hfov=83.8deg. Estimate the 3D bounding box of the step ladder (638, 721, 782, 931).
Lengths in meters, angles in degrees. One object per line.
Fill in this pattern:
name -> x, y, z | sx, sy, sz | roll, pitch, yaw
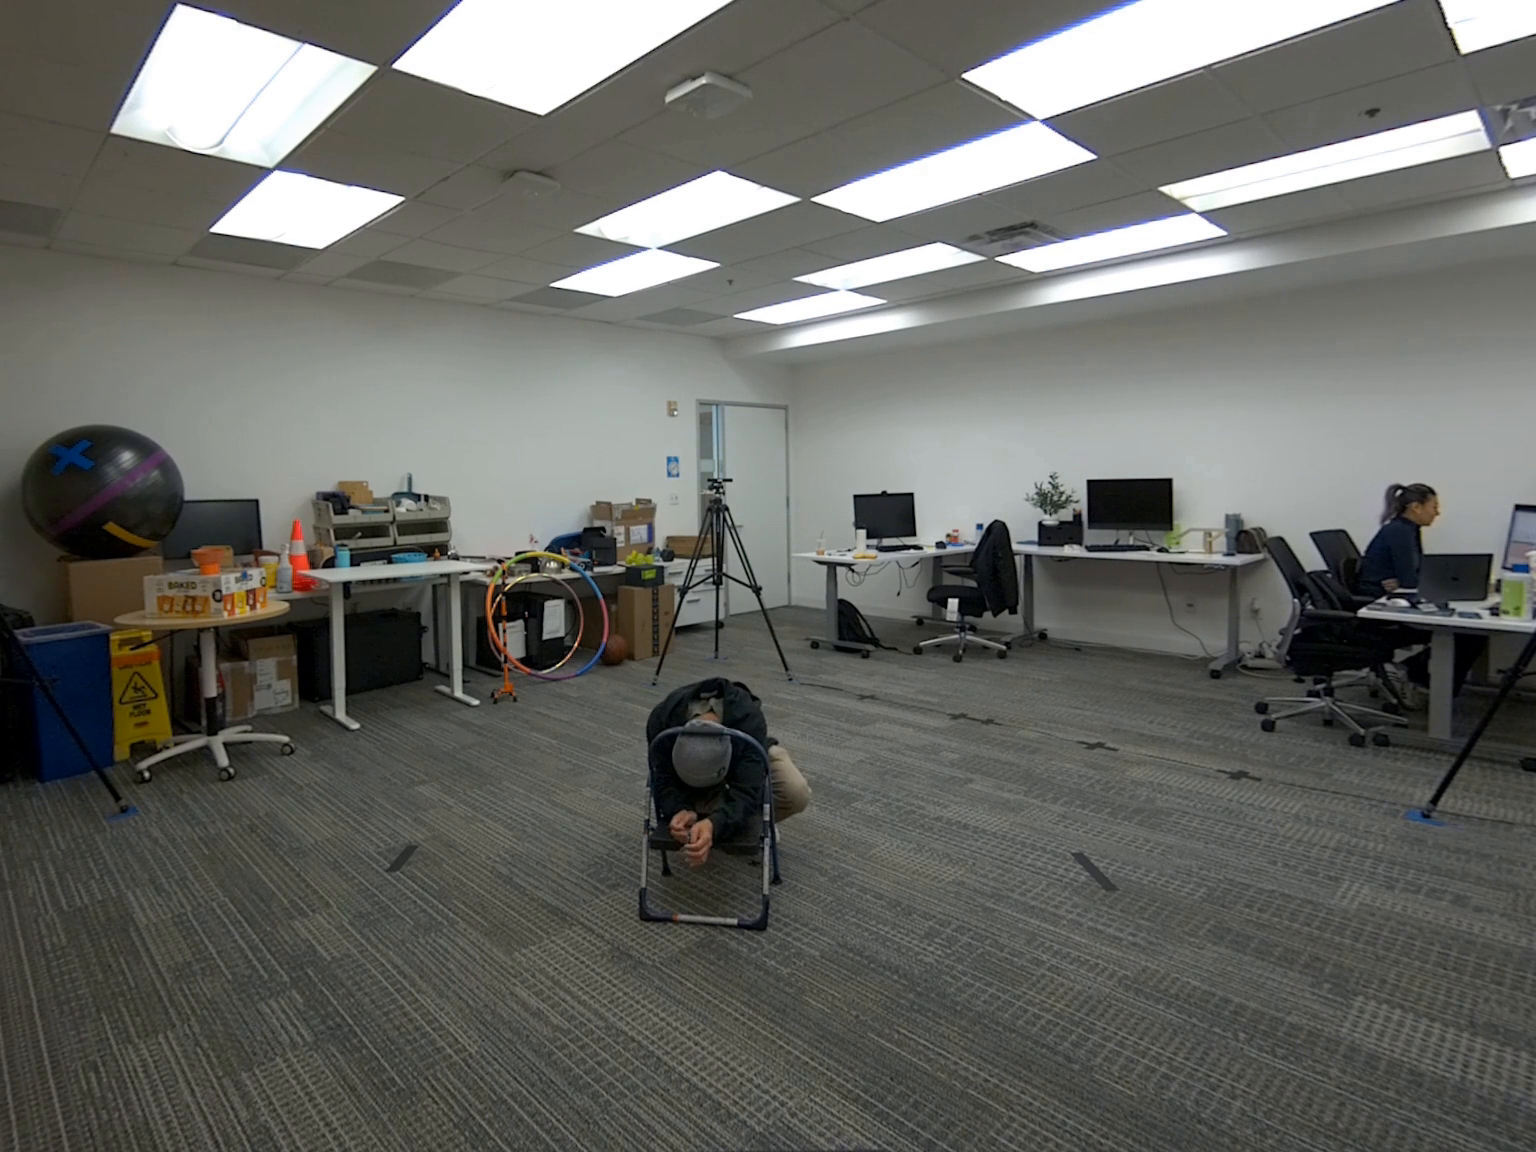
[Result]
step ladder -> -0.193, 0.787, 2.824 | 0.435, 0.604, 0.347 | 0, 4, 10
